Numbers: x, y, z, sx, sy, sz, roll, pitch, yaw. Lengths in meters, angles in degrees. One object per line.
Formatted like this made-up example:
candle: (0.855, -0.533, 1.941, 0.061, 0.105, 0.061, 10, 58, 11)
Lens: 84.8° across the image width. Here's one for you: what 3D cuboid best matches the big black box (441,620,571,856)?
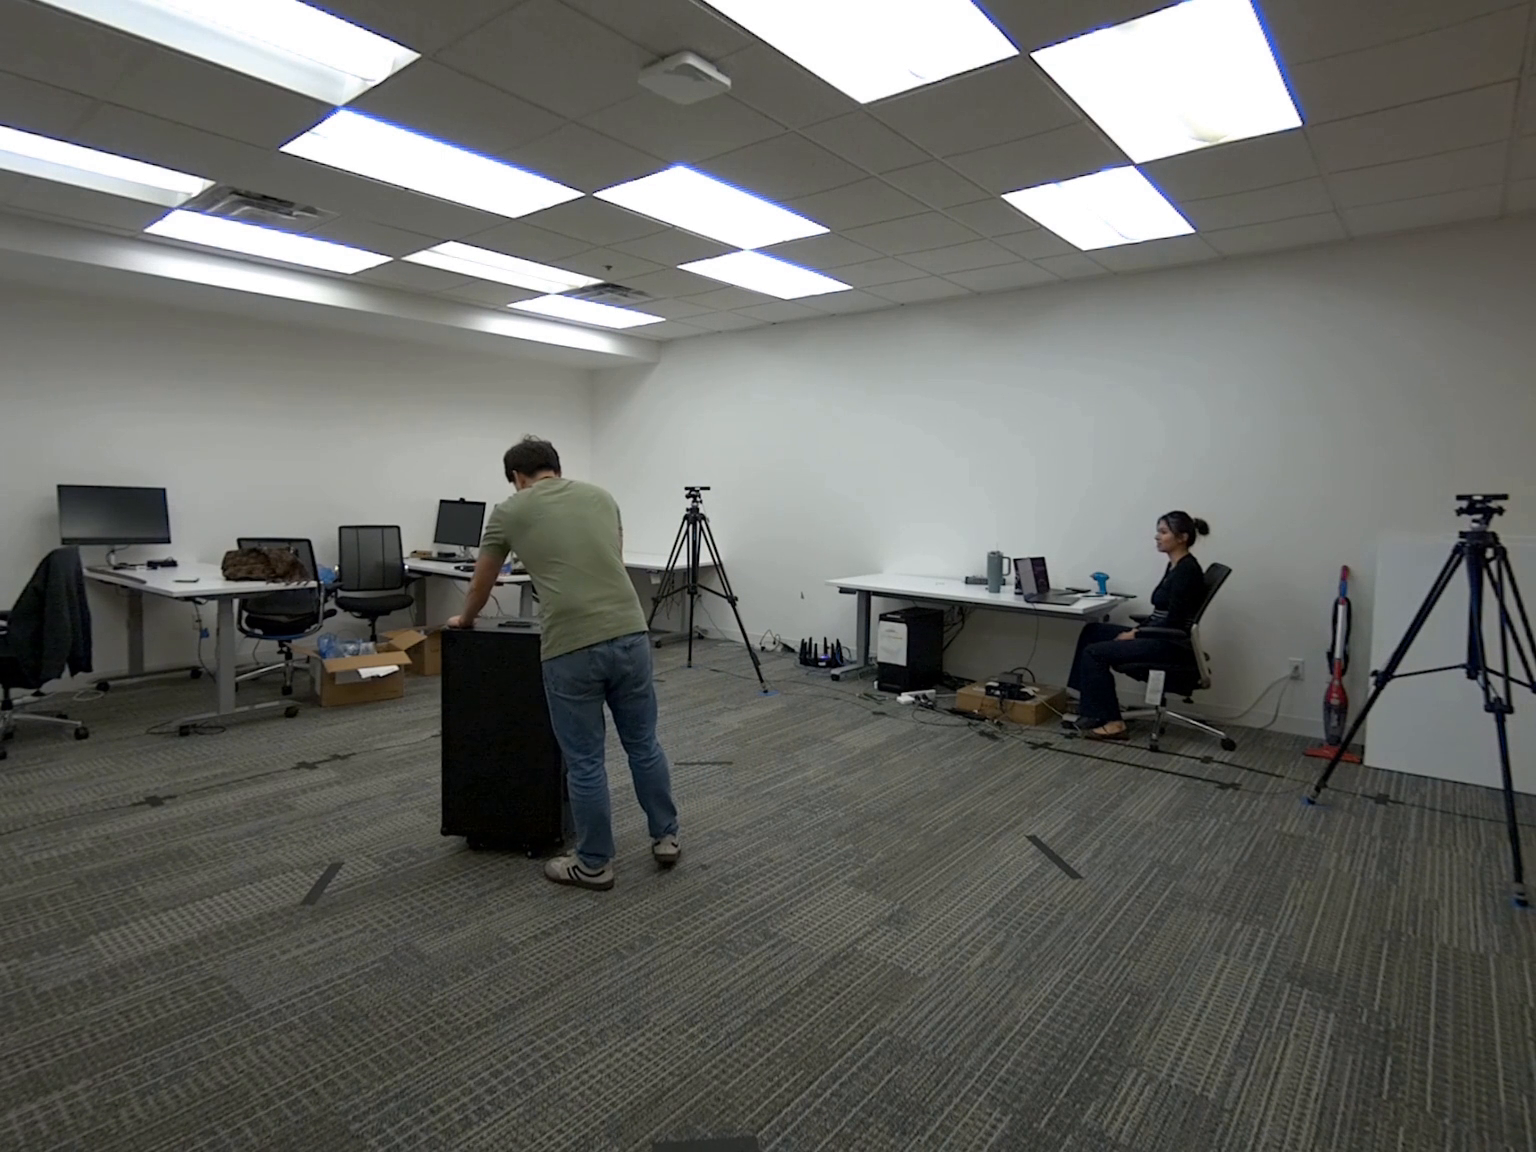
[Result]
big black box: (-0.988, 0.613, 3.324, 0.528, 0.860, 0.392, 2, 1, 11)
